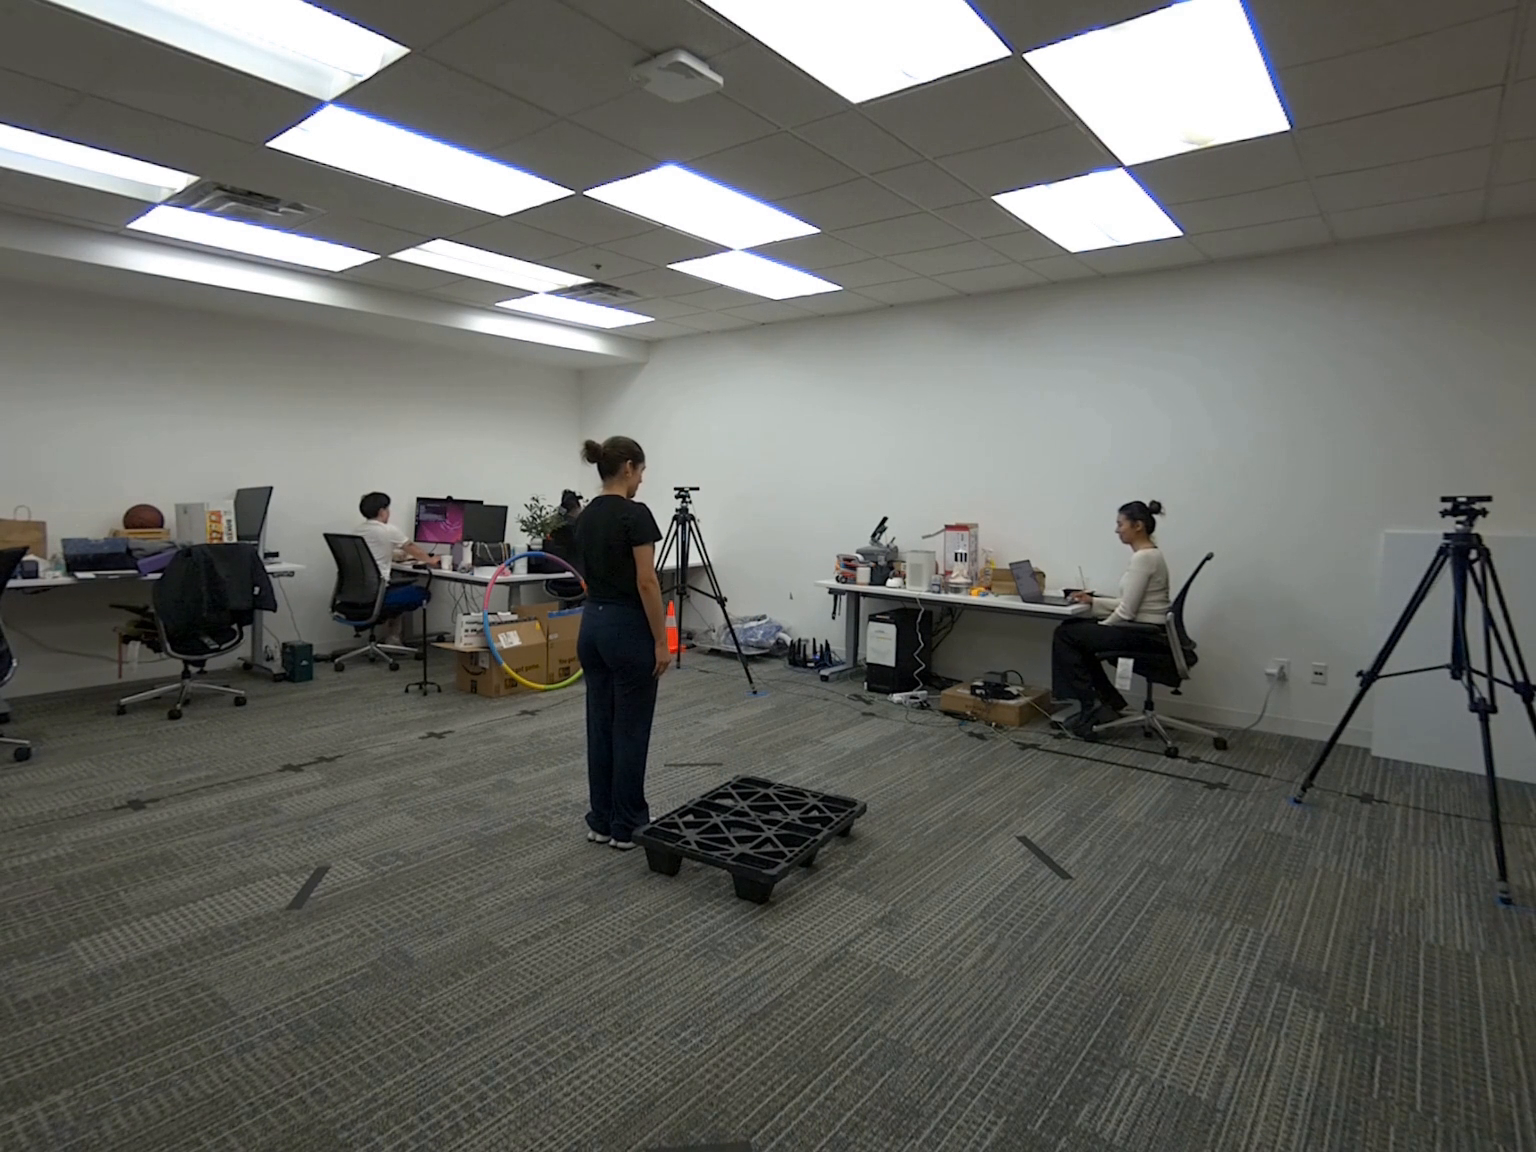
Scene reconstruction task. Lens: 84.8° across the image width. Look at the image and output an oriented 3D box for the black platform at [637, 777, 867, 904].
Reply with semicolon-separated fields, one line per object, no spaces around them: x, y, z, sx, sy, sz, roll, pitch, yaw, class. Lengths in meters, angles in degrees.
-0.038;0.987;3.274;0.623;0.143;0.785;4;6;31;black platform
